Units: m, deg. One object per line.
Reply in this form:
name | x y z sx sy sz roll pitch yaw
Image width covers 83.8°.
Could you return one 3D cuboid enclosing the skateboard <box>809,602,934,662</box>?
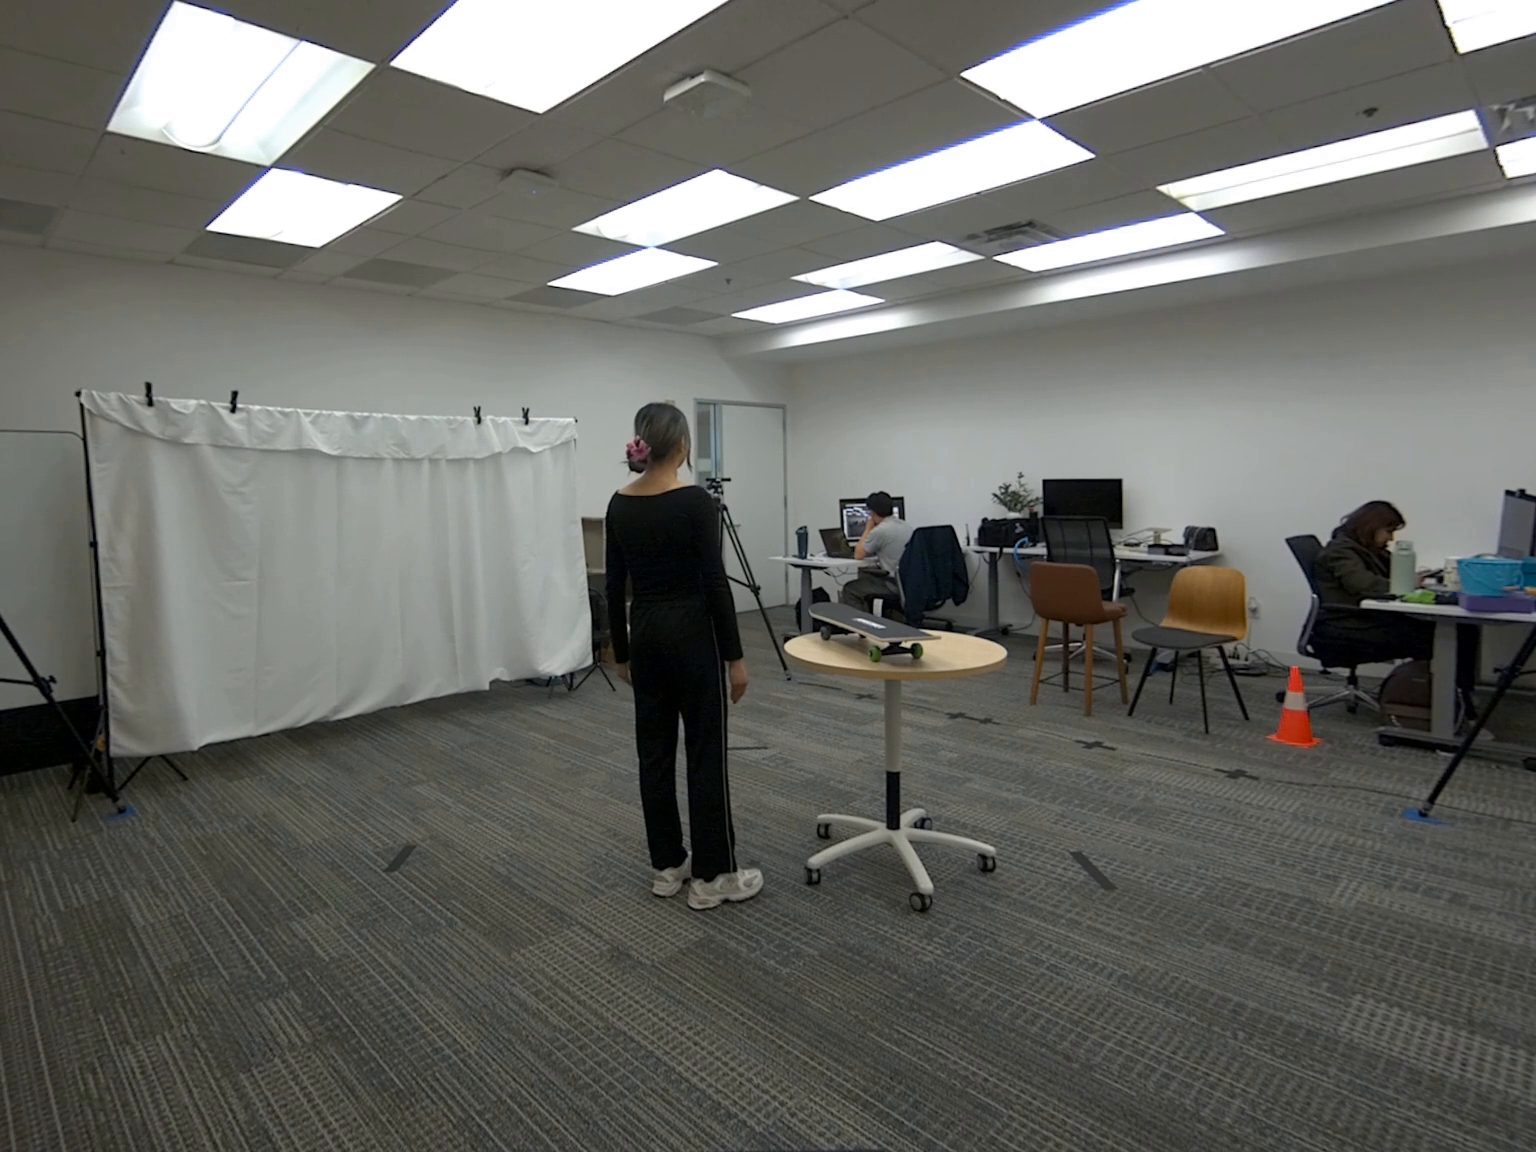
skateboard | 0.357 0.206 2.991 0.190 0.110 0.802 -2 7 -19
